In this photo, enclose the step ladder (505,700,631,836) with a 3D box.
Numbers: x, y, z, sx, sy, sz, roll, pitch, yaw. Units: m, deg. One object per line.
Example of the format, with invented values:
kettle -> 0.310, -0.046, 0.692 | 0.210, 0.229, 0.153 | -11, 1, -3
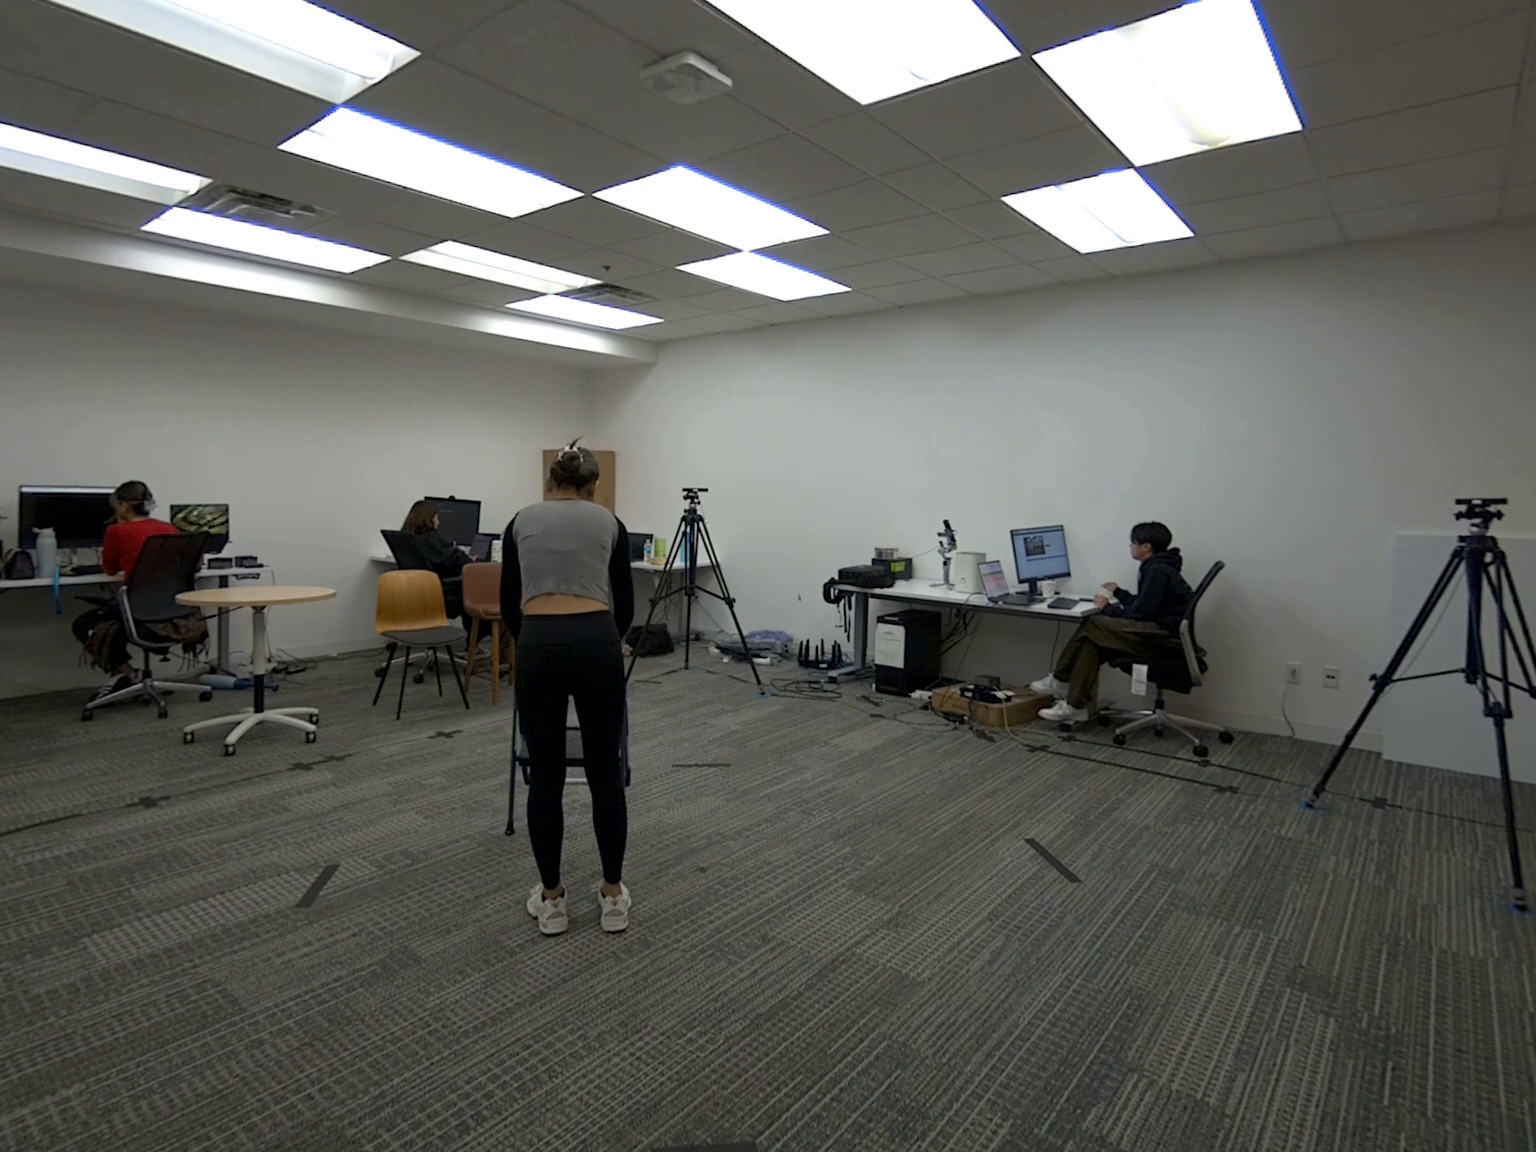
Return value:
step ladder -> -0.738, 0.576, 3.100 | 0.429, 0.598, 0.355 | 1, 15, -3
